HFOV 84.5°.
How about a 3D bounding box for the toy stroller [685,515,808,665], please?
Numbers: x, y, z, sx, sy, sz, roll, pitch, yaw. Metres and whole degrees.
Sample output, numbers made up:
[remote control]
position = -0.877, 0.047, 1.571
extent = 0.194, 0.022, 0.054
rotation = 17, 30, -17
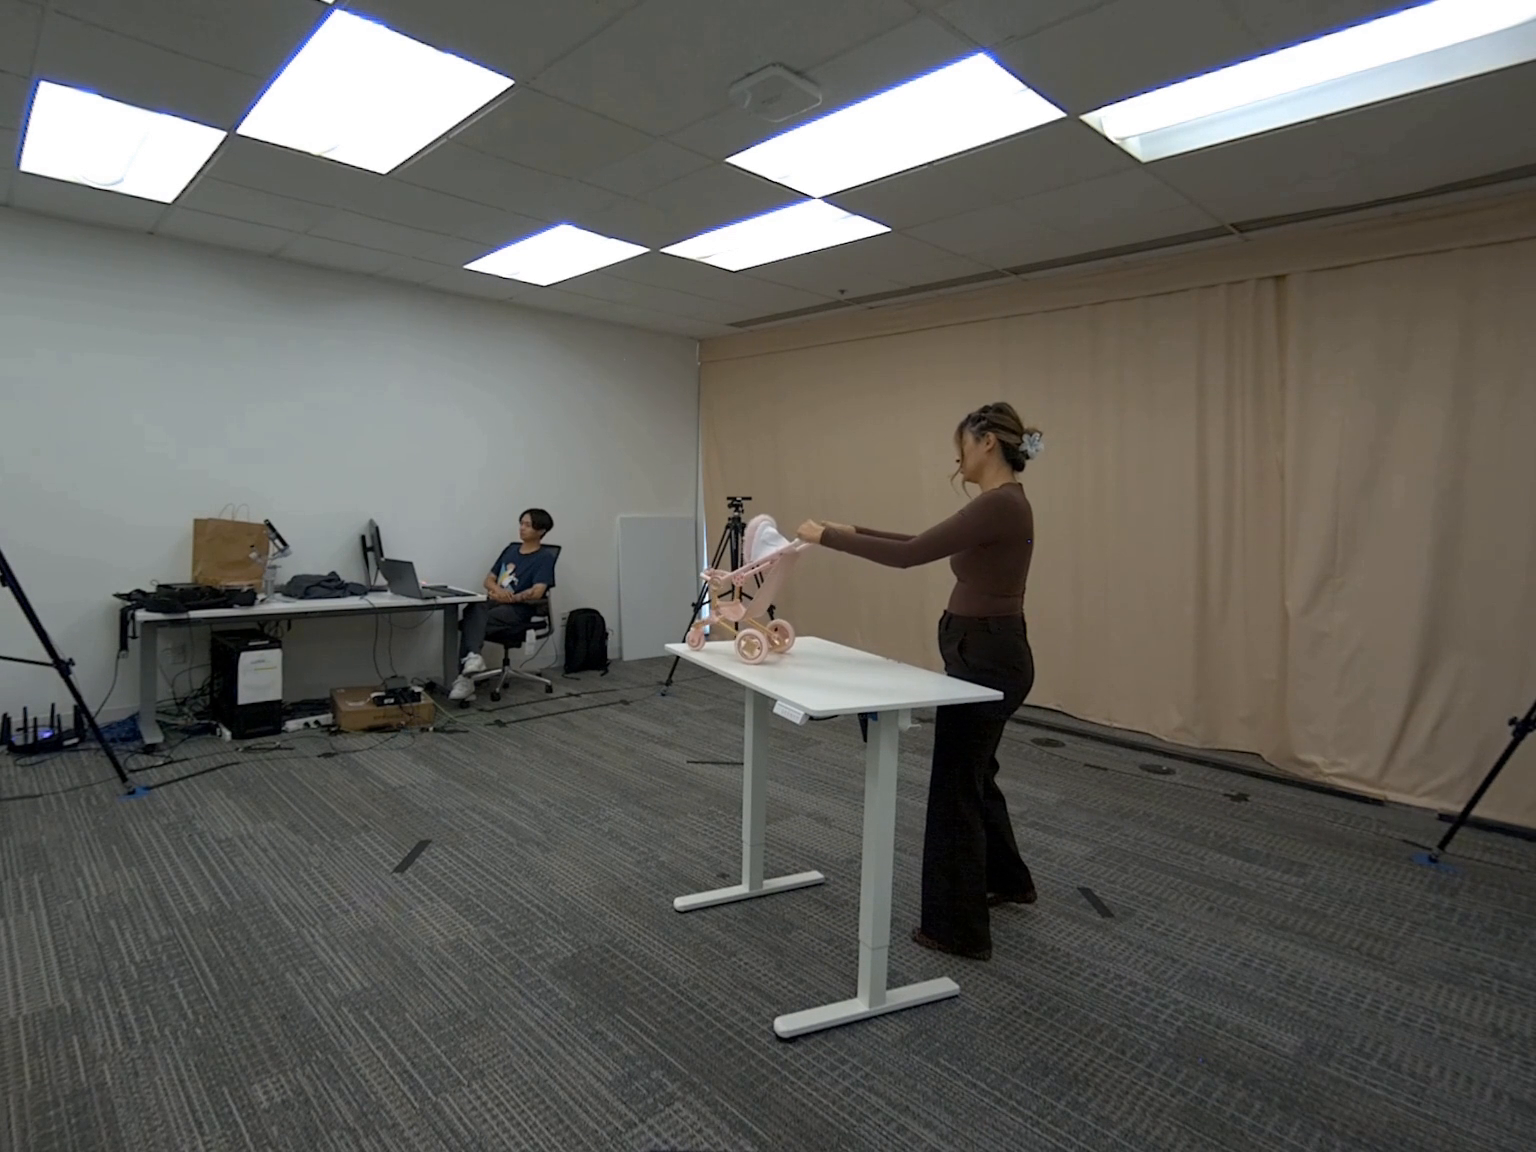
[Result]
[toy stroller]
position = -0.057, 0.039, 2.718
extent = 0.349, 0.532, 0.276
rotation = 22, 11, 24
